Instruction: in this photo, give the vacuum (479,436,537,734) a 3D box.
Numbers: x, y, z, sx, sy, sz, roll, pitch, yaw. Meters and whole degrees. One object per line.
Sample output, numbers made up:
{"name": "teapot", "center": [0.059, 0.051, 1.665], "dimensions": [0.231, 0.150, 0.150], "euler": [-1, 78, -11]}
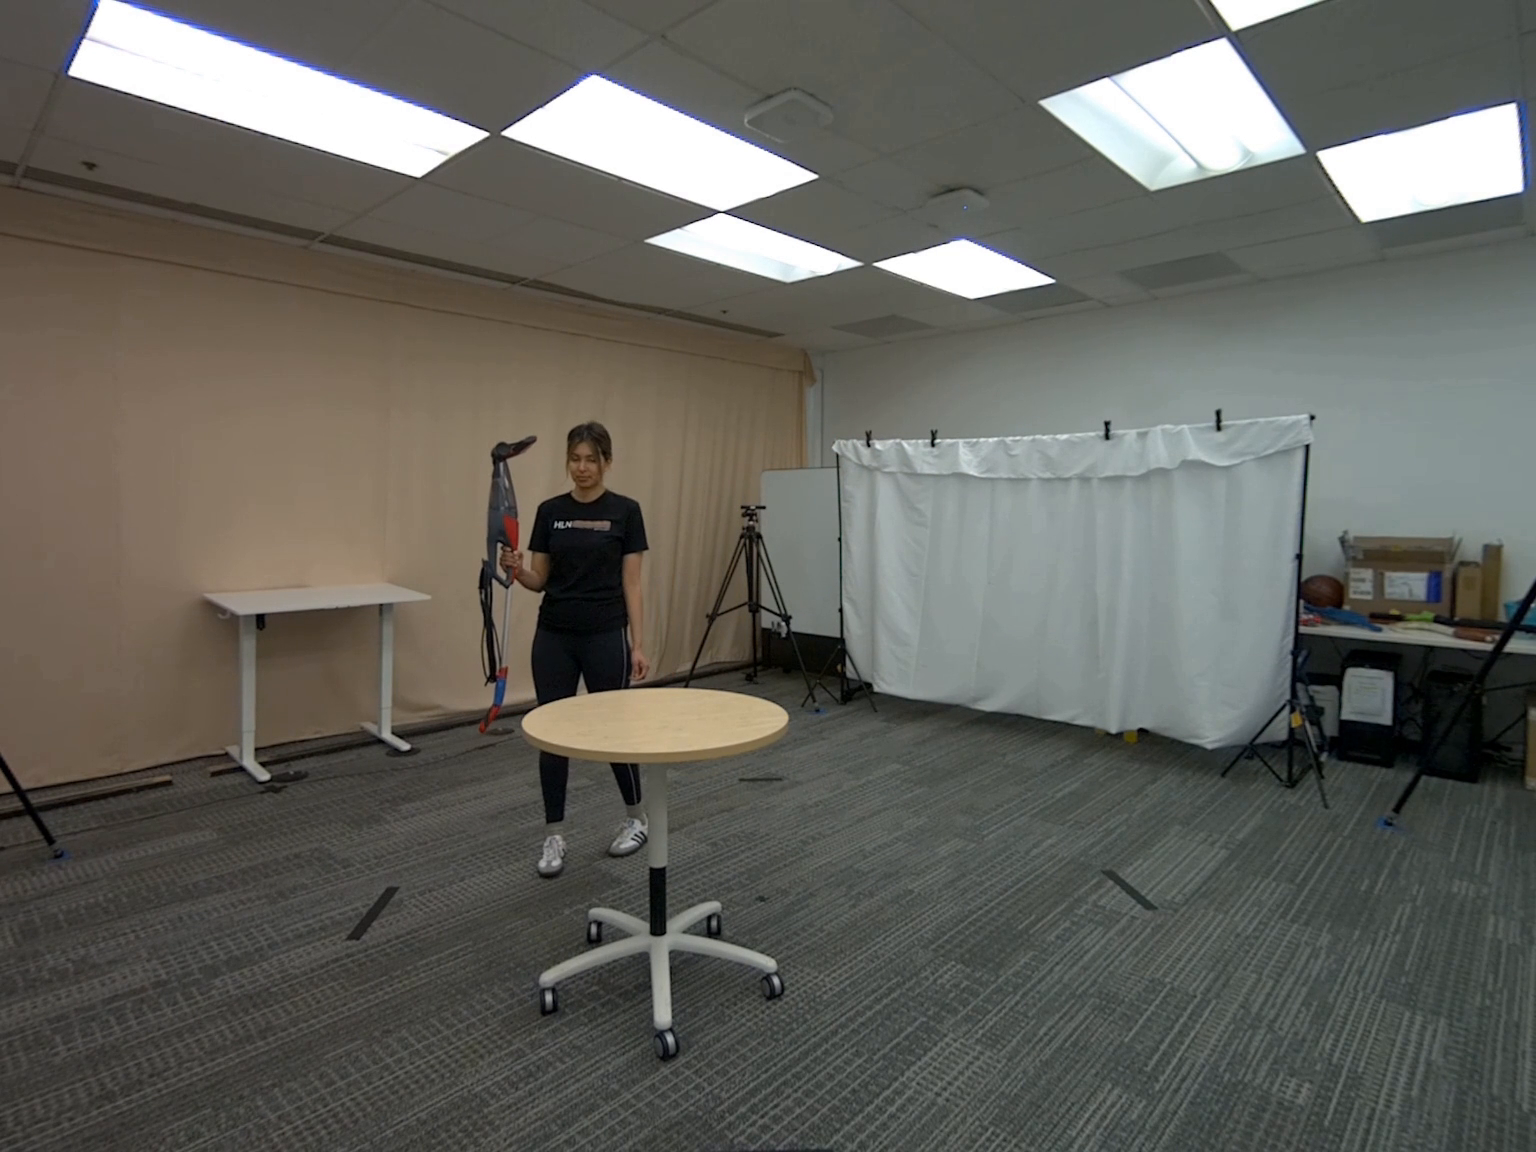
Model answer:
{"name": "vacuum", "center": [-0.982, 0.034, 3.063], "dimensions": [0.141, 1.053, 0.257], "euler": [6, -7, -20]}
